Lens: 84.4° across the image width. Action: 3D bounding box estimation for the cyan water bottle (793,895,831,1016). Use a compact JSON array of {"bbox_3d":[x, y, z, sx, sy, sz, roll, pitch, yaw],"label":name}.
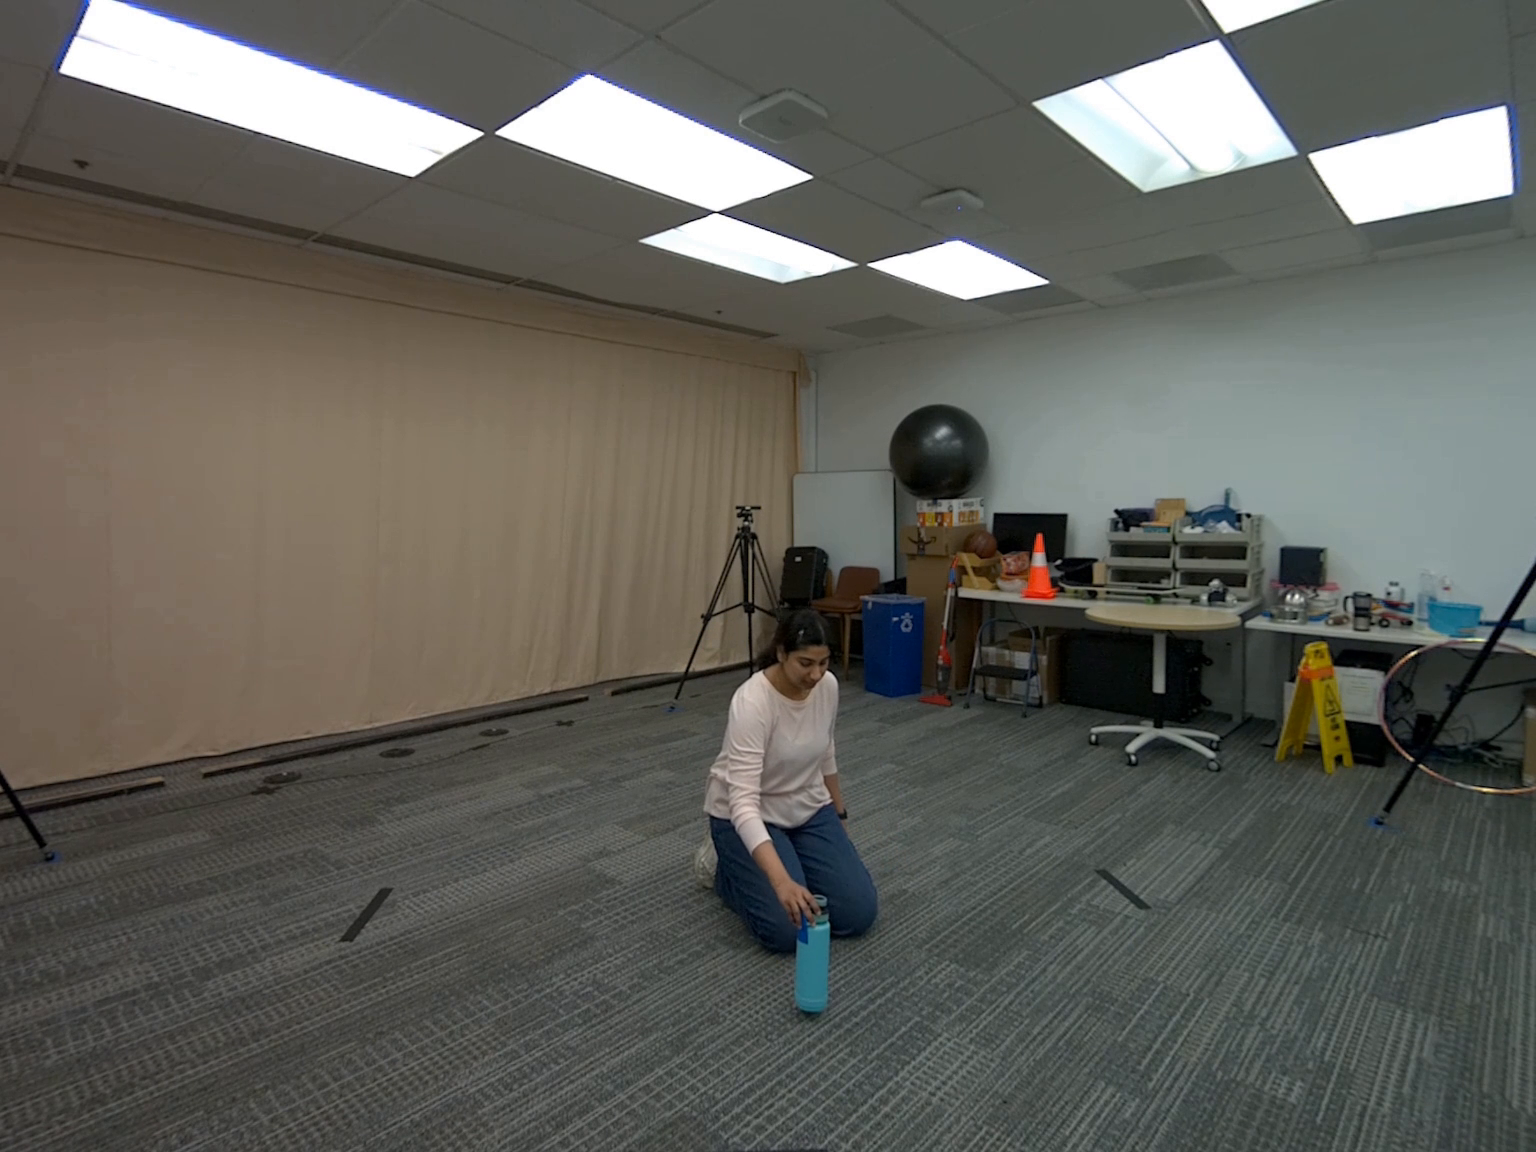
[{"bbox_3d":[0.122,1.023,2.310,0.092,0.284,0.092,2,-2,-2],"label":"cyan water bottle"}]
